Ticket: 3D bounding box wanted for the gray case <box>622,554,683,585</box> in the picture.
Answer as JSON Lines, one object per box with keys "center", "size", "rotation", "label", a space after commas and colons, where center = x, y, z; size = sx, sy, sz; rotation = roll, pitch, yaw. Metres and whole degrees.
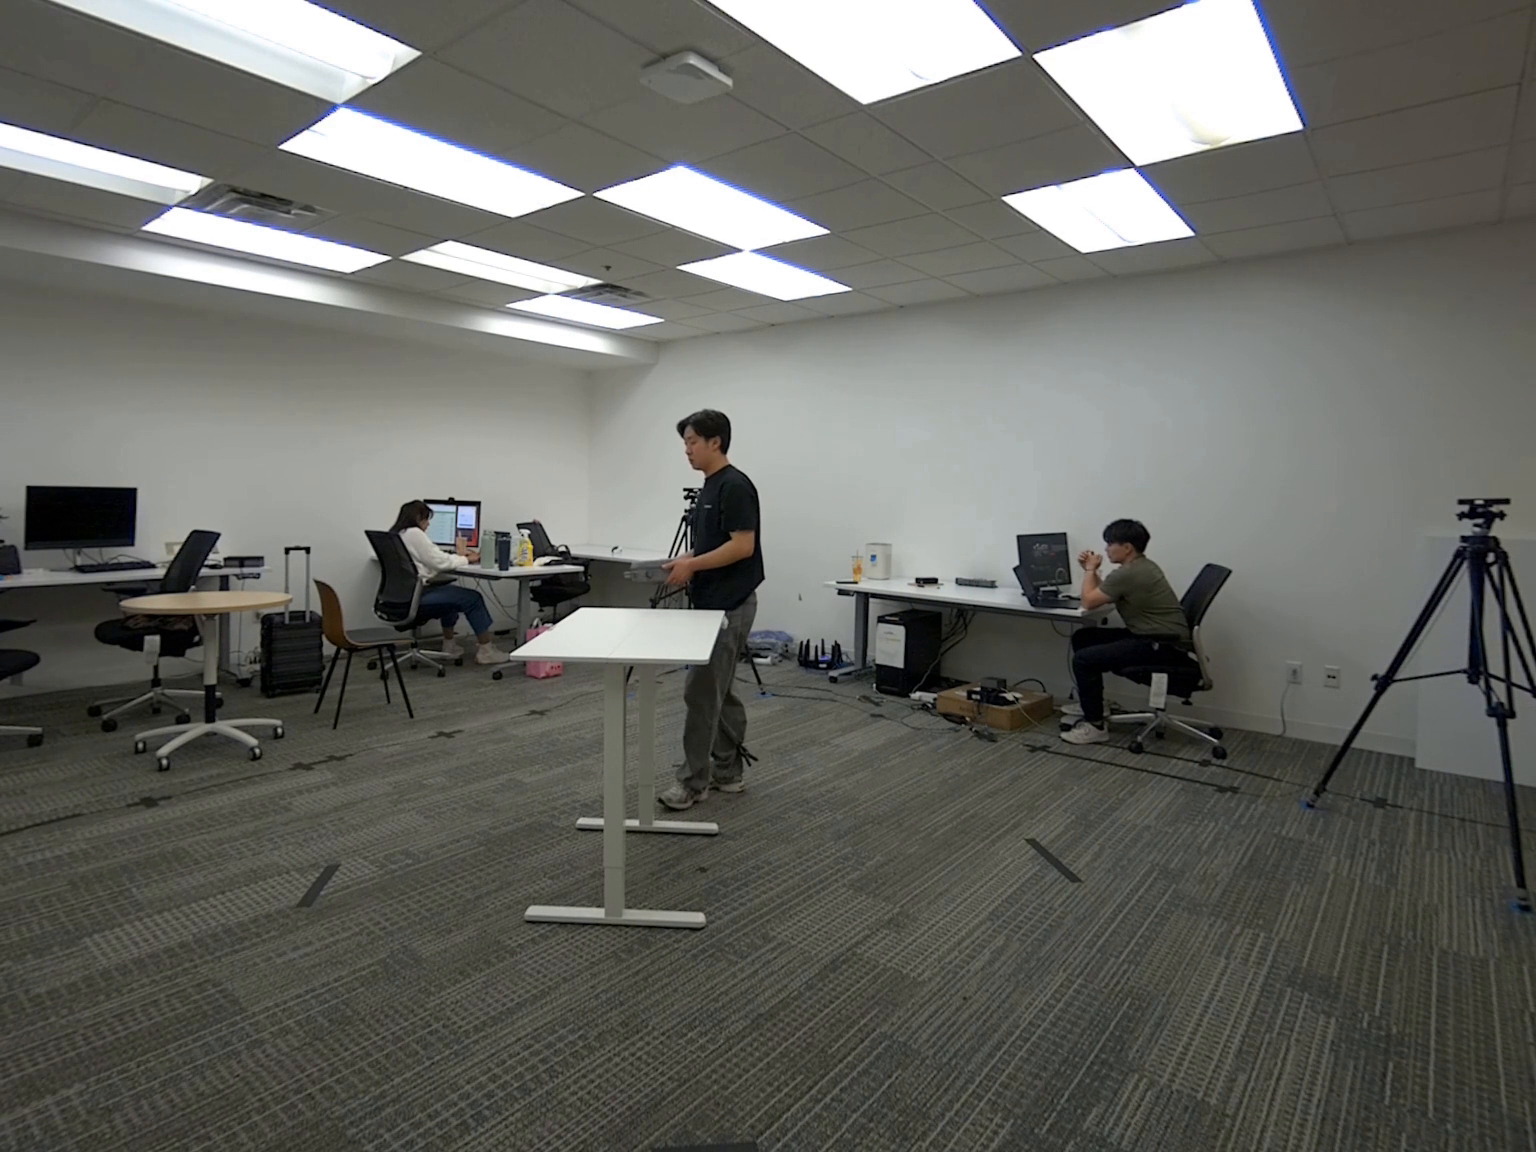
{"center": [-0.491, -0.032, 3.805], "size": [0.282, 0.103, 0.266], "rotation": [-4, -3, -18], "label": "gray case"}
